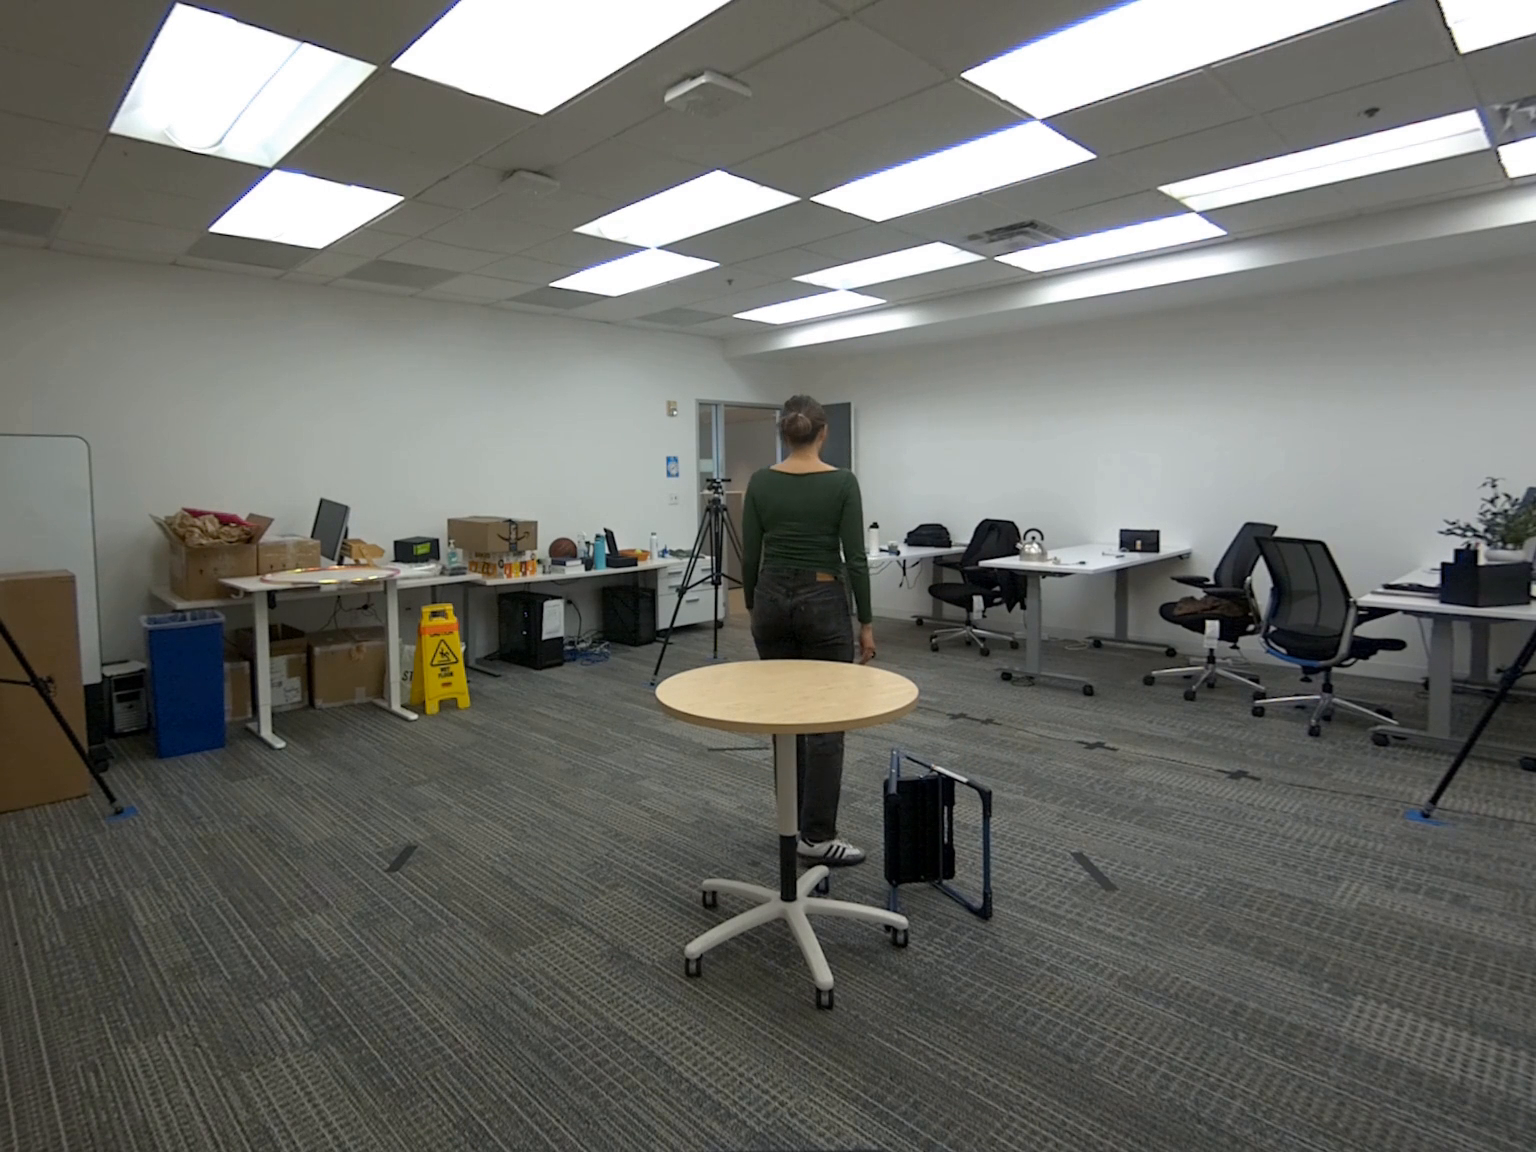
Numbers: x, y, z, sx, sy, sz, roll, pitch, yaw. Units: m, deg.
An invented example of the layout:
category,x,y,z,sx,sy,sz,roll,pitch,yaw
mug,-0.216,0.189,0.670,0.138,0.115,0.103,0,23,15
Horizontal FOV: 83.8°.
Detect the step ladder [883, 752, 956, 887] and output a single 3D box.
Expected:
category,x,y,z,sx,sy,sz,roll,pitch,yaw
step ladder,0.471,0.838,2.933,0.346,0.429,0.614,0,4,-11
